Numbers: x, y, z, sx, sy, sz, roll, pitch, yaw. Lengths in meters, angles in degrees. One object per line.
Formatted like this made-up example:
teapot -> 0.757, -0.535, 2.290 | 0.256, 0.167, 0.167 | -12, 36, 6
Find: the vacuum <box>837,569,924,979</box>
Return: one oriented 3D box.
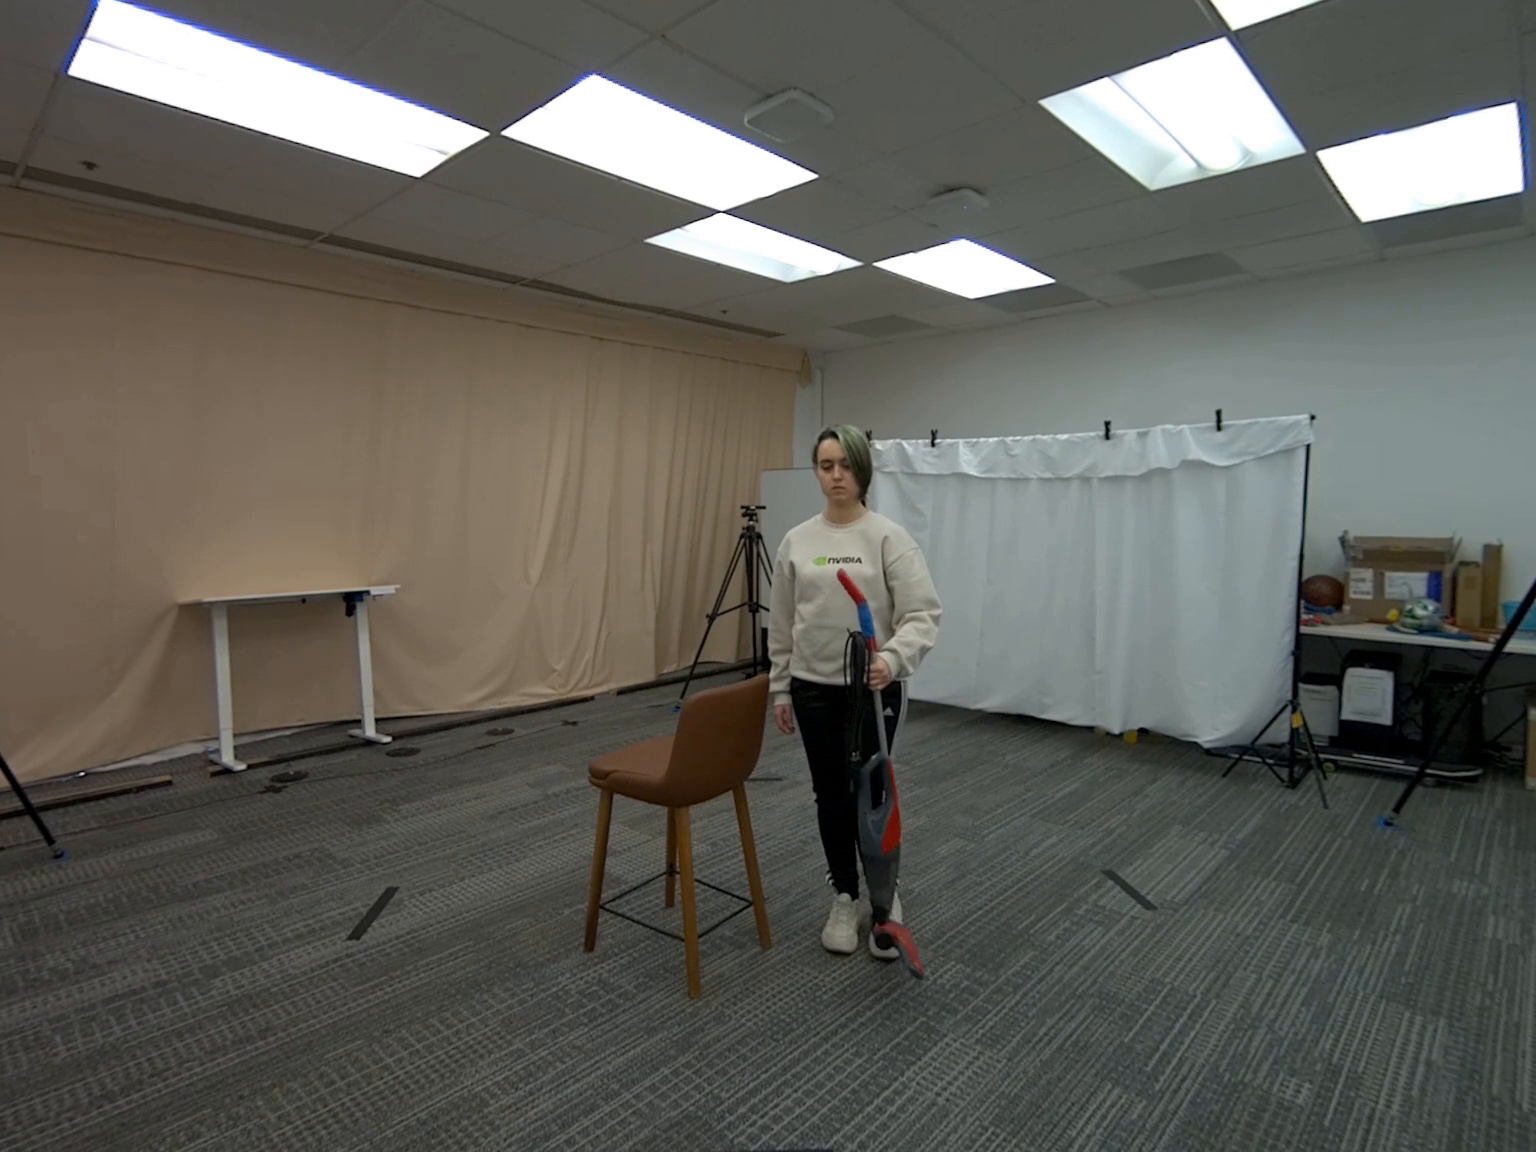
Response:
vacuum -> 0.286, 0.509, 2.349 | 0.144, 1.048, 0.252 | -8, 2, 0
